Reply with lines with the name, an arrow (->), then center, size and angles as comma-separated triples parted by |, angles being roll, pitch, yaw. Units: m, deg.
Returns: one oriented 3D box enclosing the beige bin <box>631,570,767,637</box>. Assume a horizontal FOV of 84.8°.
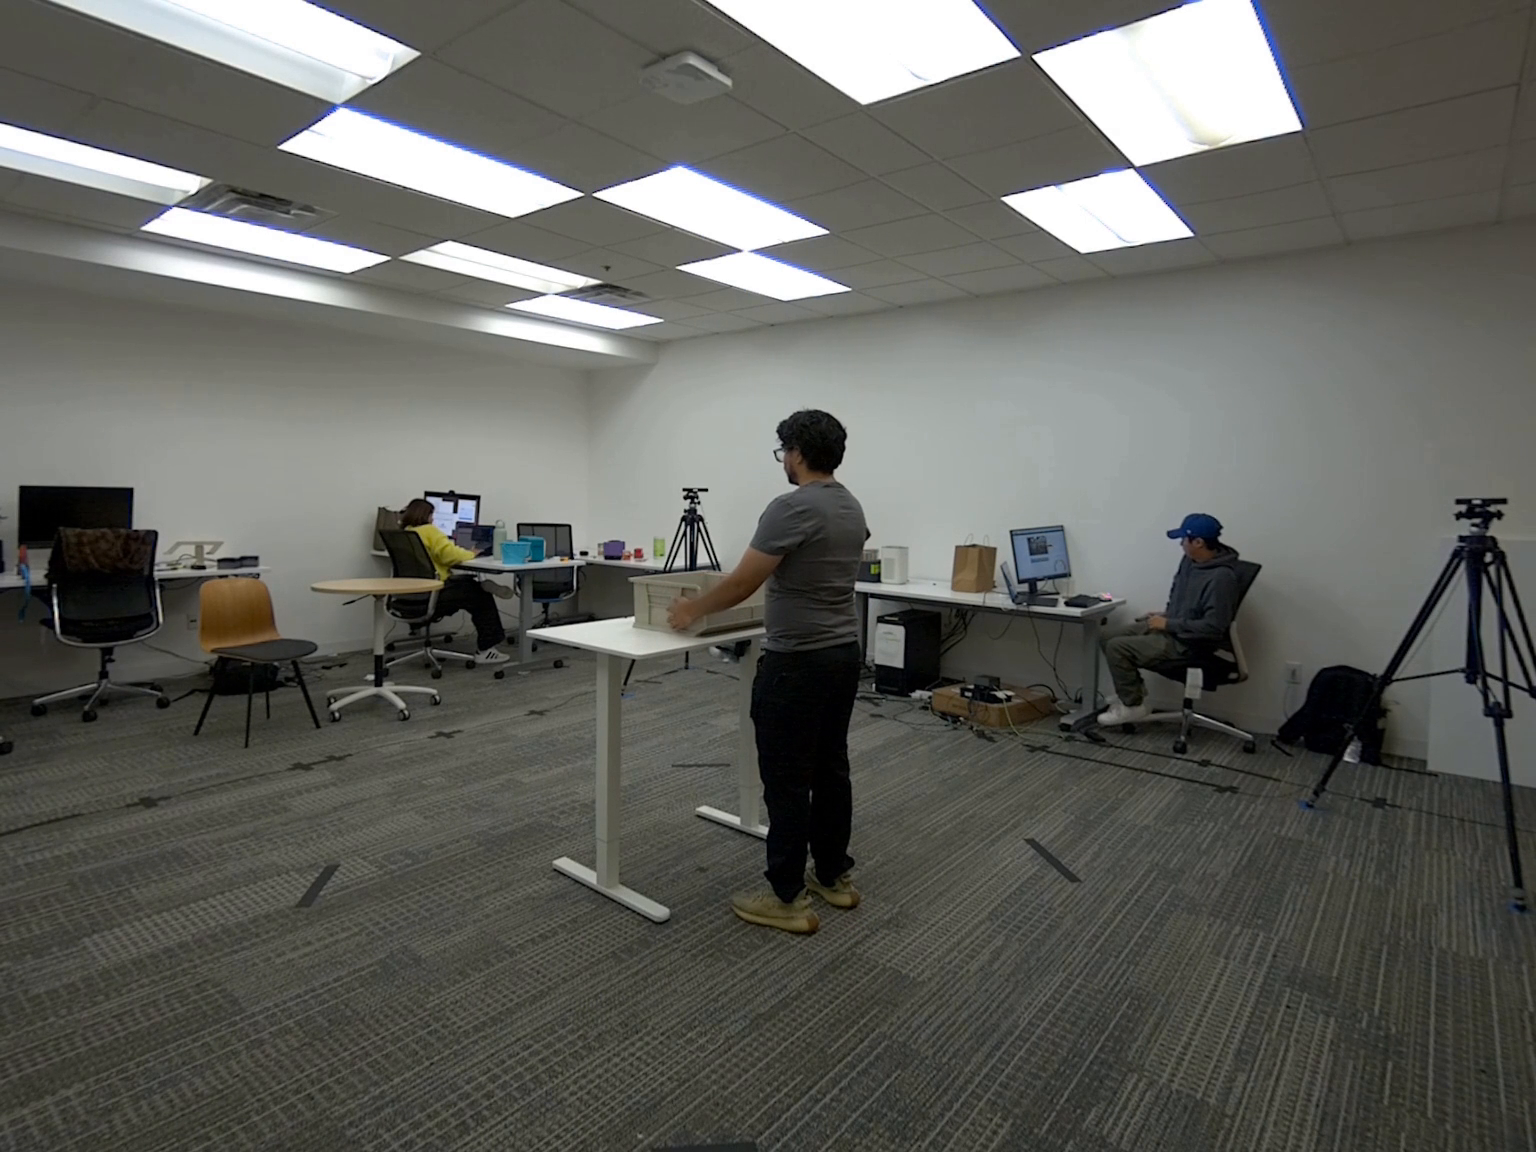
beige bin -> -0.251, 0.099, 3.142 | 0.389, 0.188, 0.410 | 3, 6, 38
